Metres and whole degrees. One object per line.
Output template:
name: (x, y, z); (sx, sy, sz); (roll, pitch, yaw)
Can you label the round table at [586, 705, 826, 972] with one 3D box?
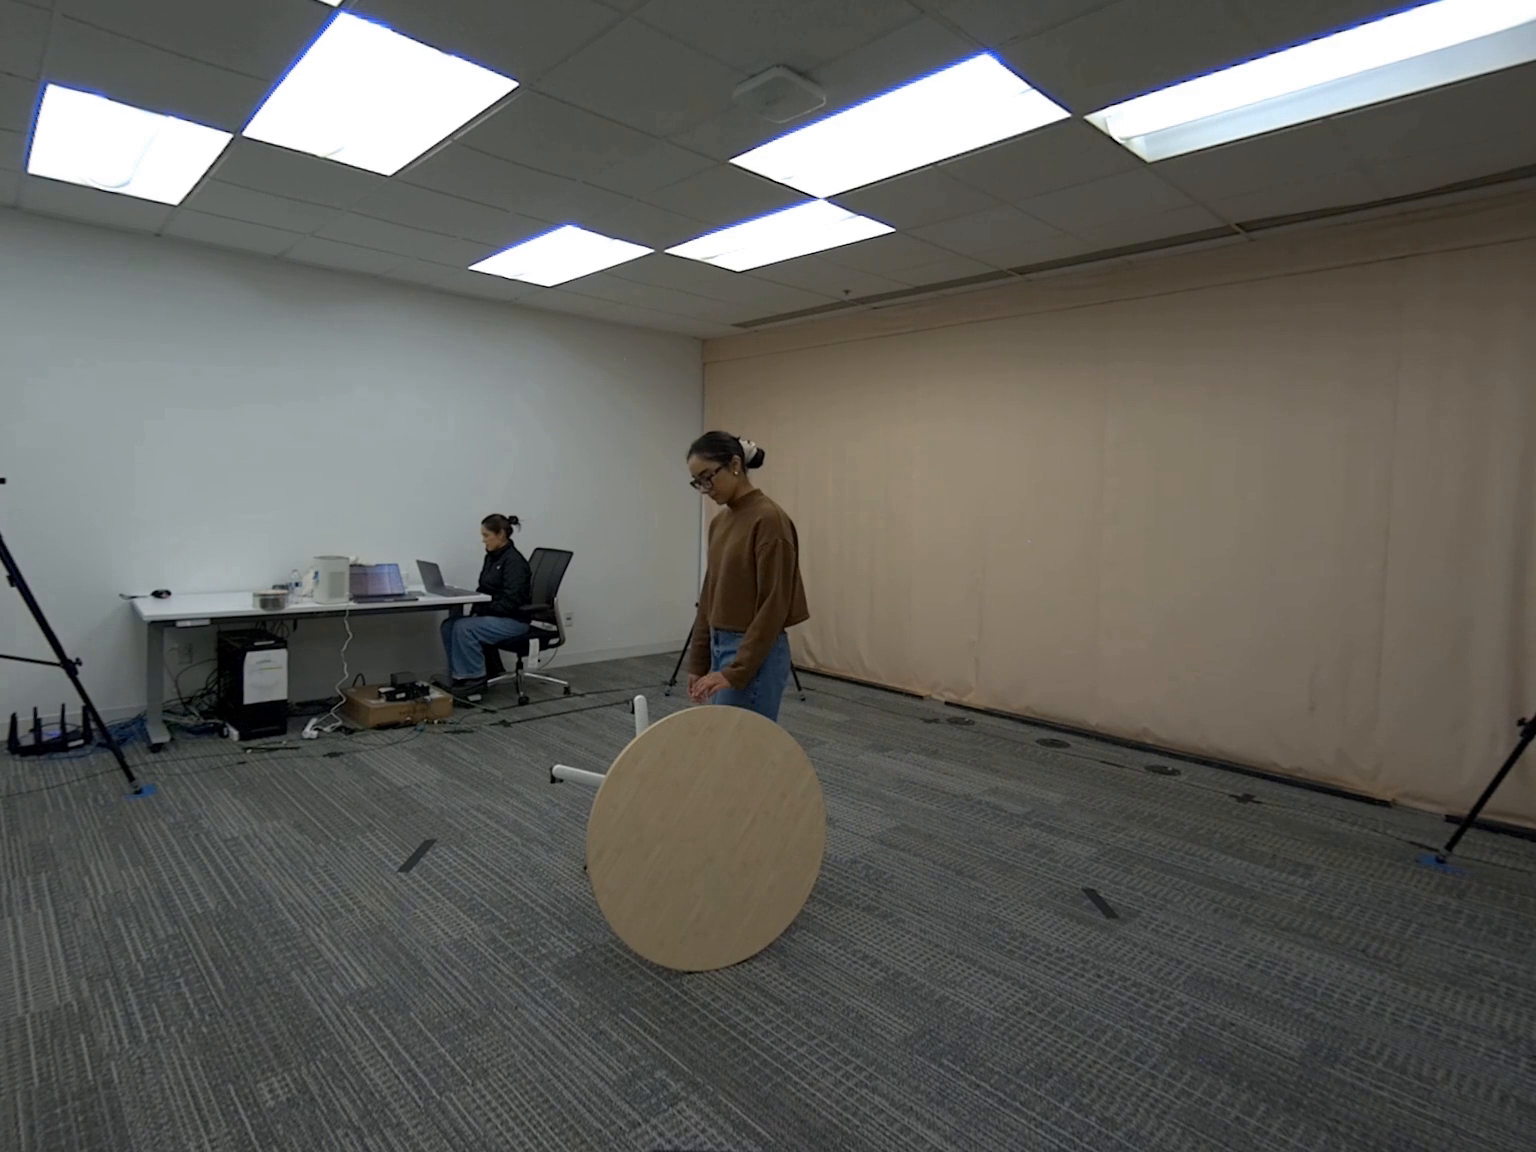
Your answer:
round table: (-0.340, 0.790, 2.871); (0.750, 0.766, 0.806); (-1, -3, -25)
